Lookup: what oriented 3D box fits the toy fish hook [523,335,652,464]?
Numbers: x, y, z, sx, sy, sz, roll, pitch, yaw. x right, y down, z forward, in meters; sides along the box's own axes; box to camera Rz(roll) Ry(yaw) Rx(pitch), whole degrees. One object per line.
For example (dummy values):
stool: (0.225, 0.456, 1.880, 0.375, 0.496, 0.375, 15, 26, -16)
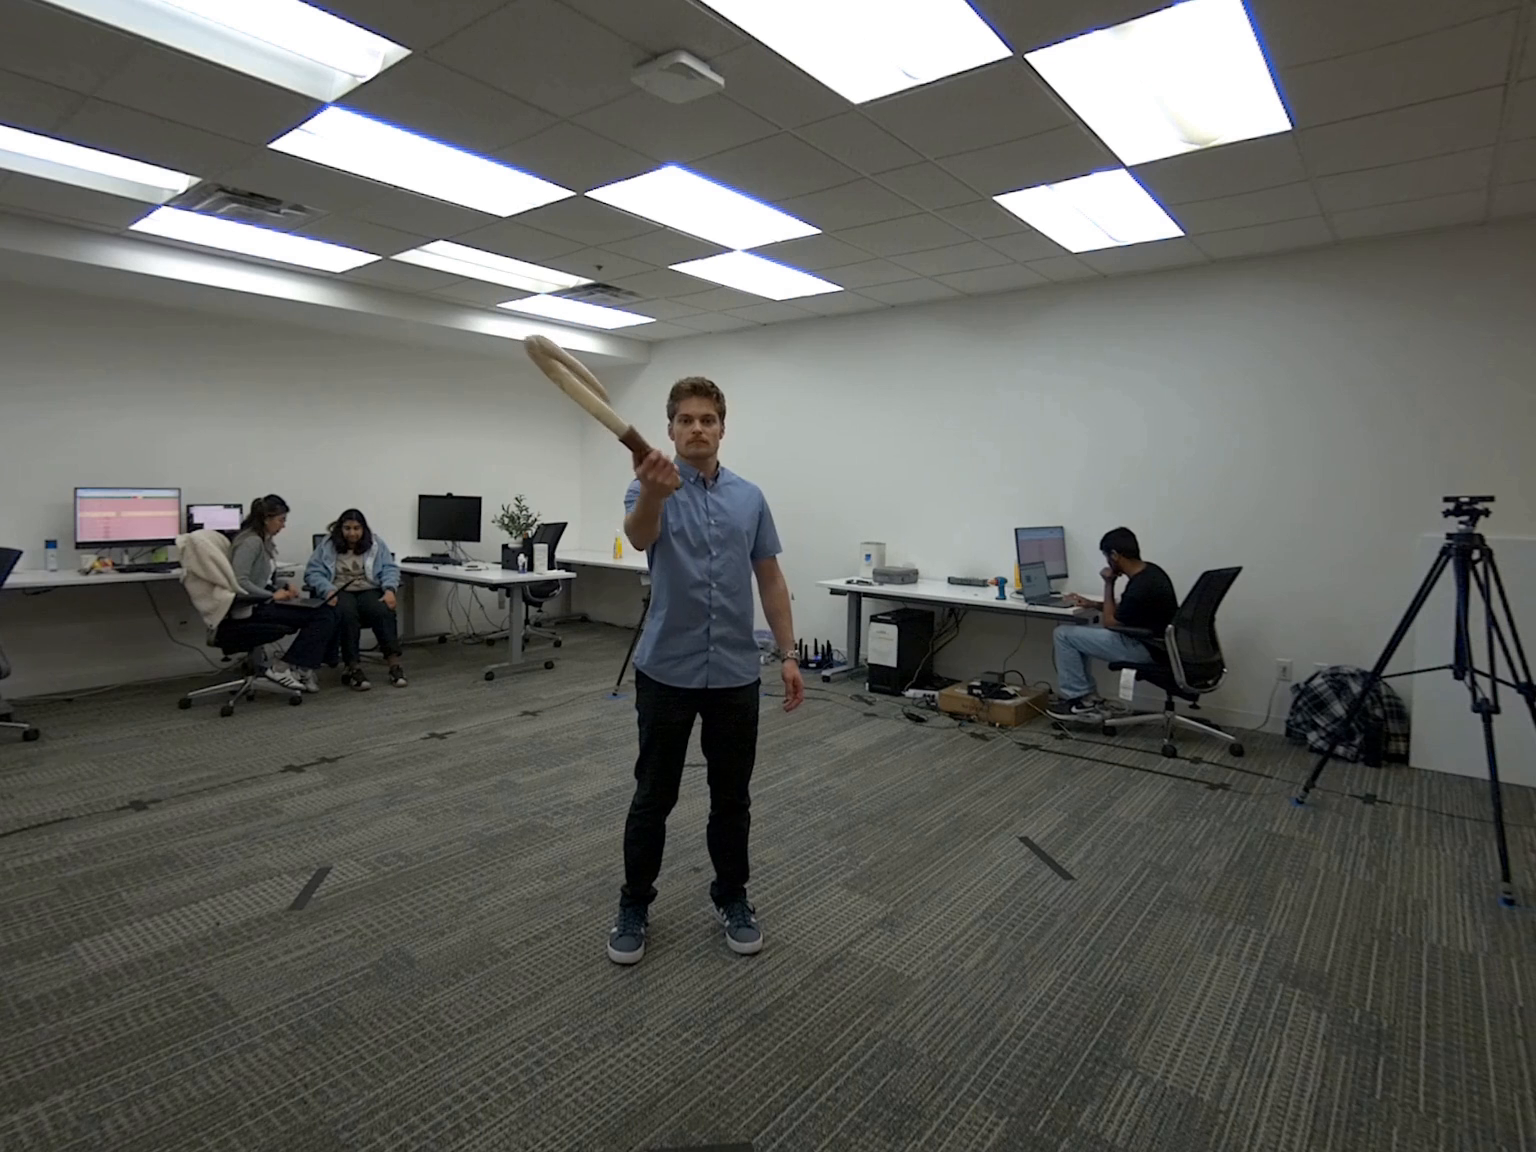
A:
toy fish hook: (-0.331, -0.328, 1.855, 0.488, 0.048, 0.233, 46, -8, -31)
